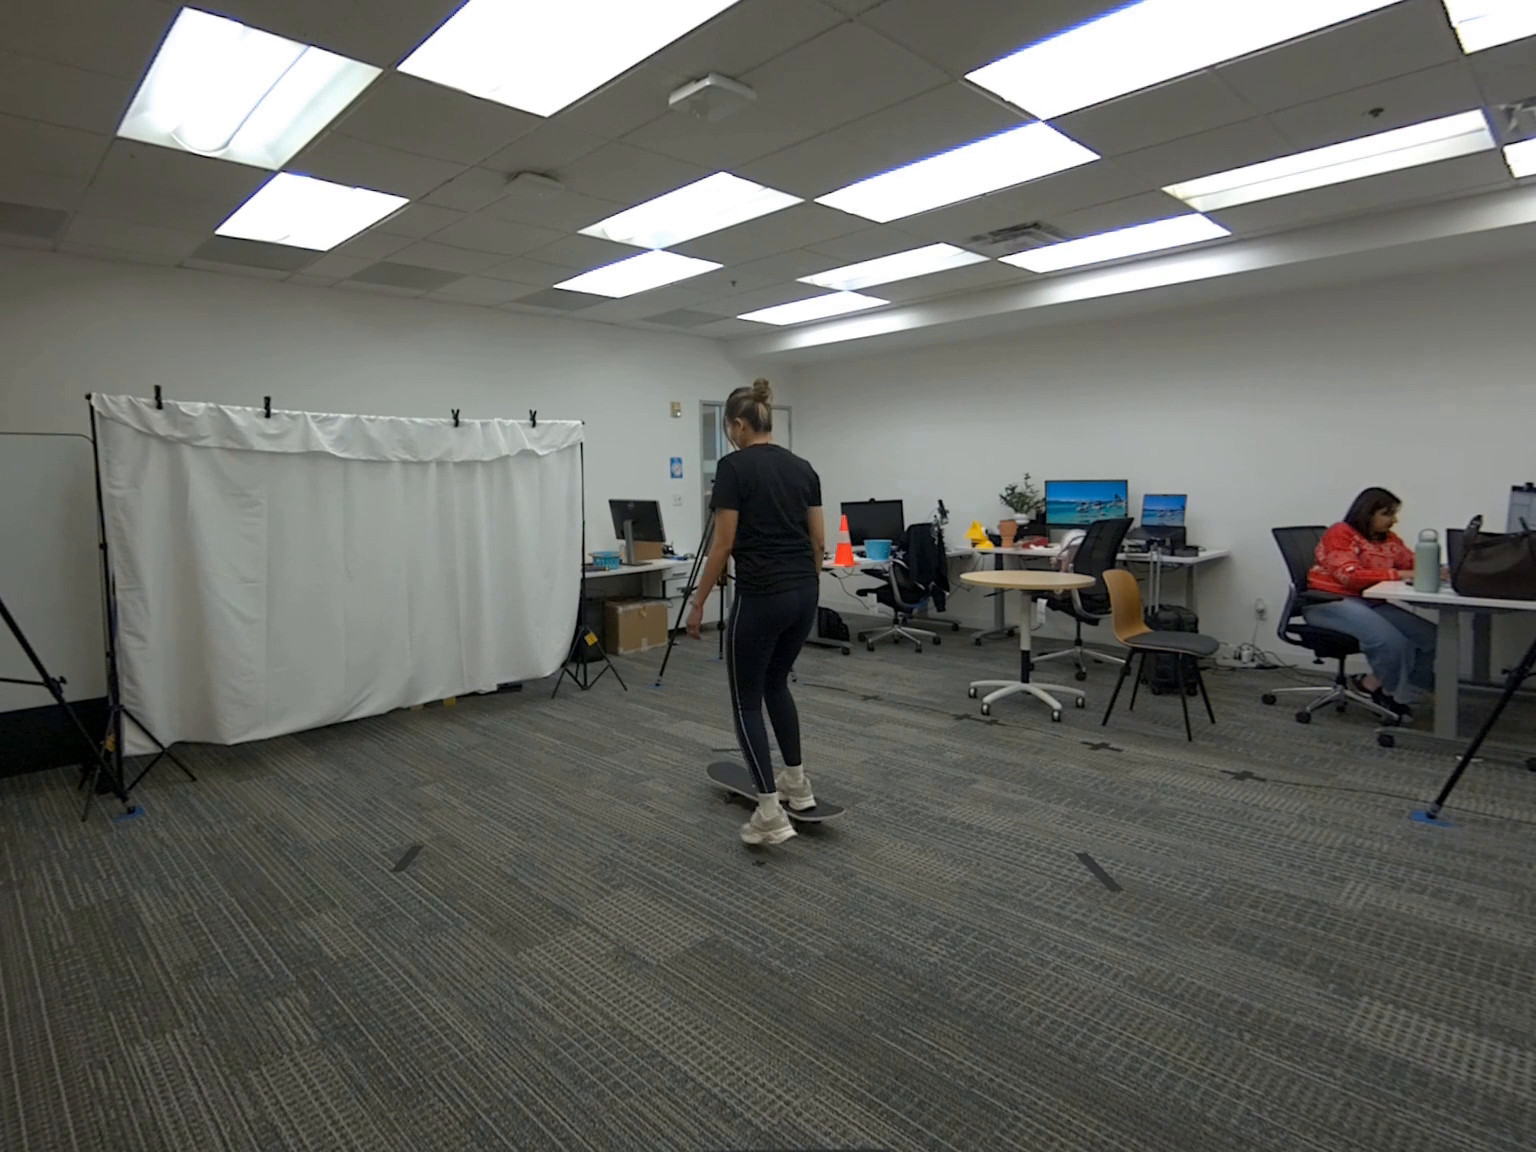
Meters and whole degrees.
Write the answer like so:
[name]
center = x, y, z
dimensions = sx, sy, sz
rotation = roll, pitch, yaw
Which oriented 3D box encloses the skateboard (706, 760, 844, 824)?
[skateboard]
center = 0.012, 0.942, 3.597
dimensions = 0.188, 0.110, 0.810
rotation = -5, 8, -39
